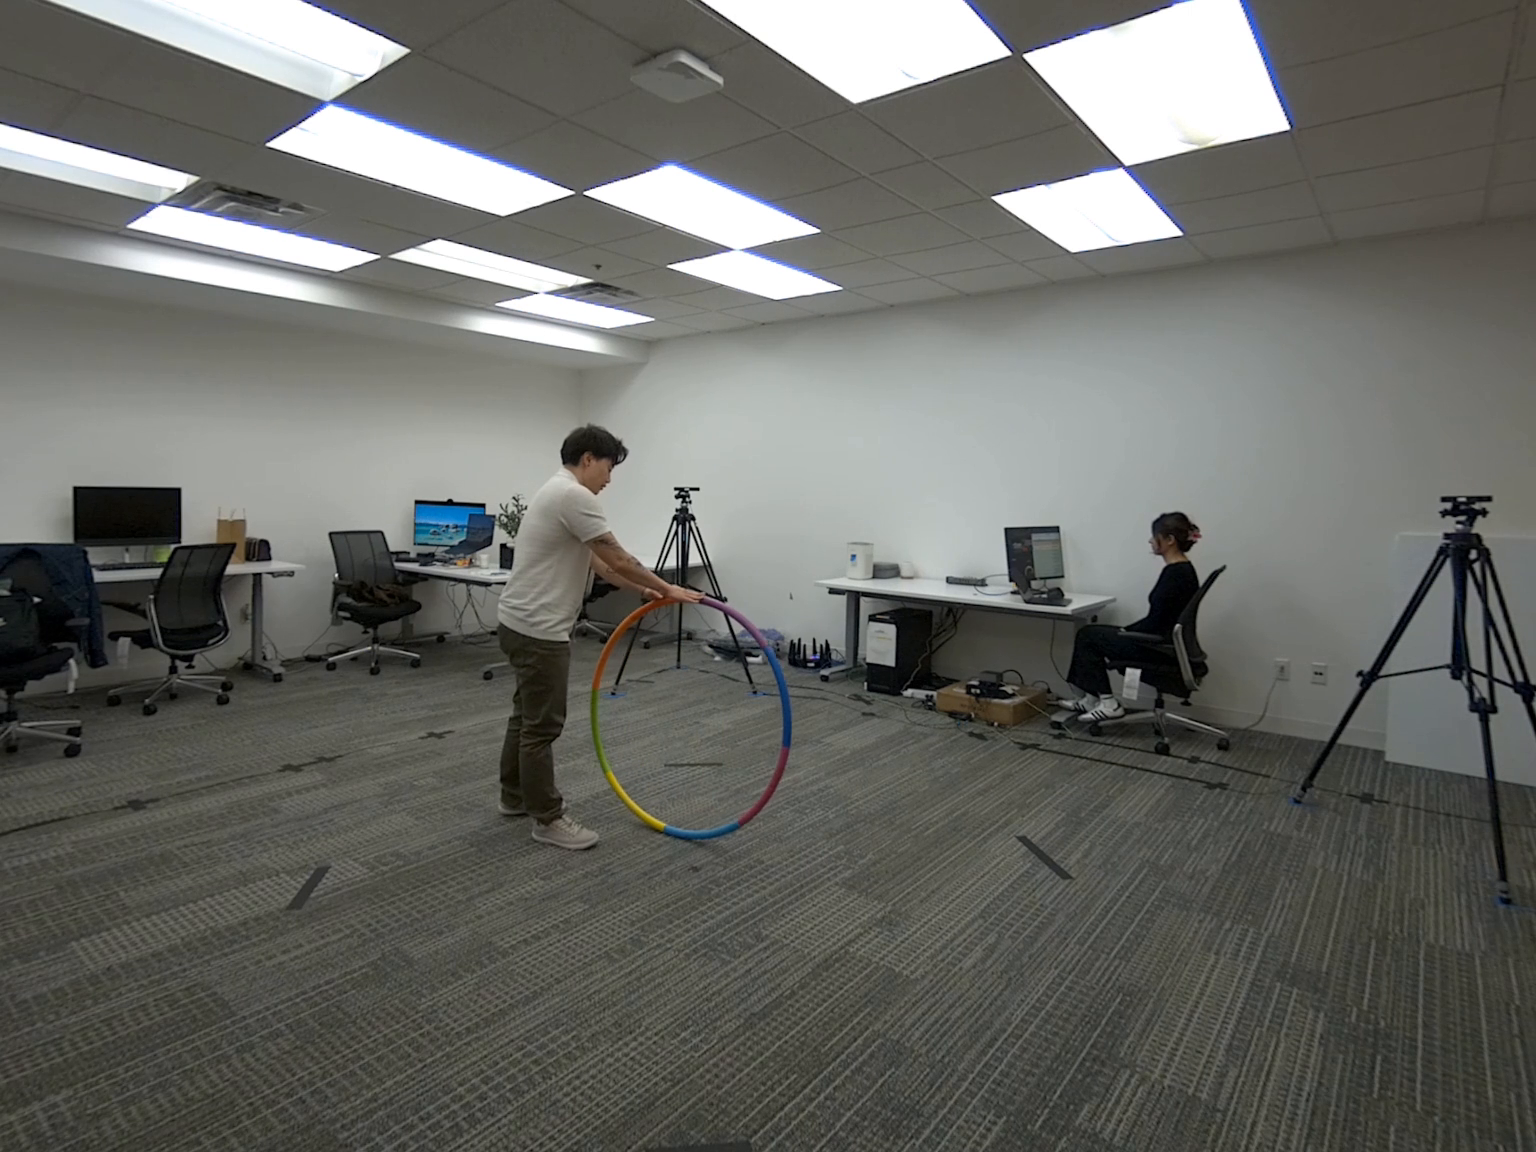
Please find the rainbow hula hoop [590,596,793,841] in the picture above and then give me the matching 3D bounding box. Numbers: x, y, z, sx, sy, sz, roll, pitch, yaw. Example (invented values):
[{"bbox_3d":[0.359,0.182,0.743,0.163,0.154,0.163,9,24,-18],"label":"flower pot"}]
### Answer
[{"bbox_3d":[-0.351,0.557,3.432,1.009,0.981,0.034,3,-4,33],"label":"rainbow hula hoop"}]
